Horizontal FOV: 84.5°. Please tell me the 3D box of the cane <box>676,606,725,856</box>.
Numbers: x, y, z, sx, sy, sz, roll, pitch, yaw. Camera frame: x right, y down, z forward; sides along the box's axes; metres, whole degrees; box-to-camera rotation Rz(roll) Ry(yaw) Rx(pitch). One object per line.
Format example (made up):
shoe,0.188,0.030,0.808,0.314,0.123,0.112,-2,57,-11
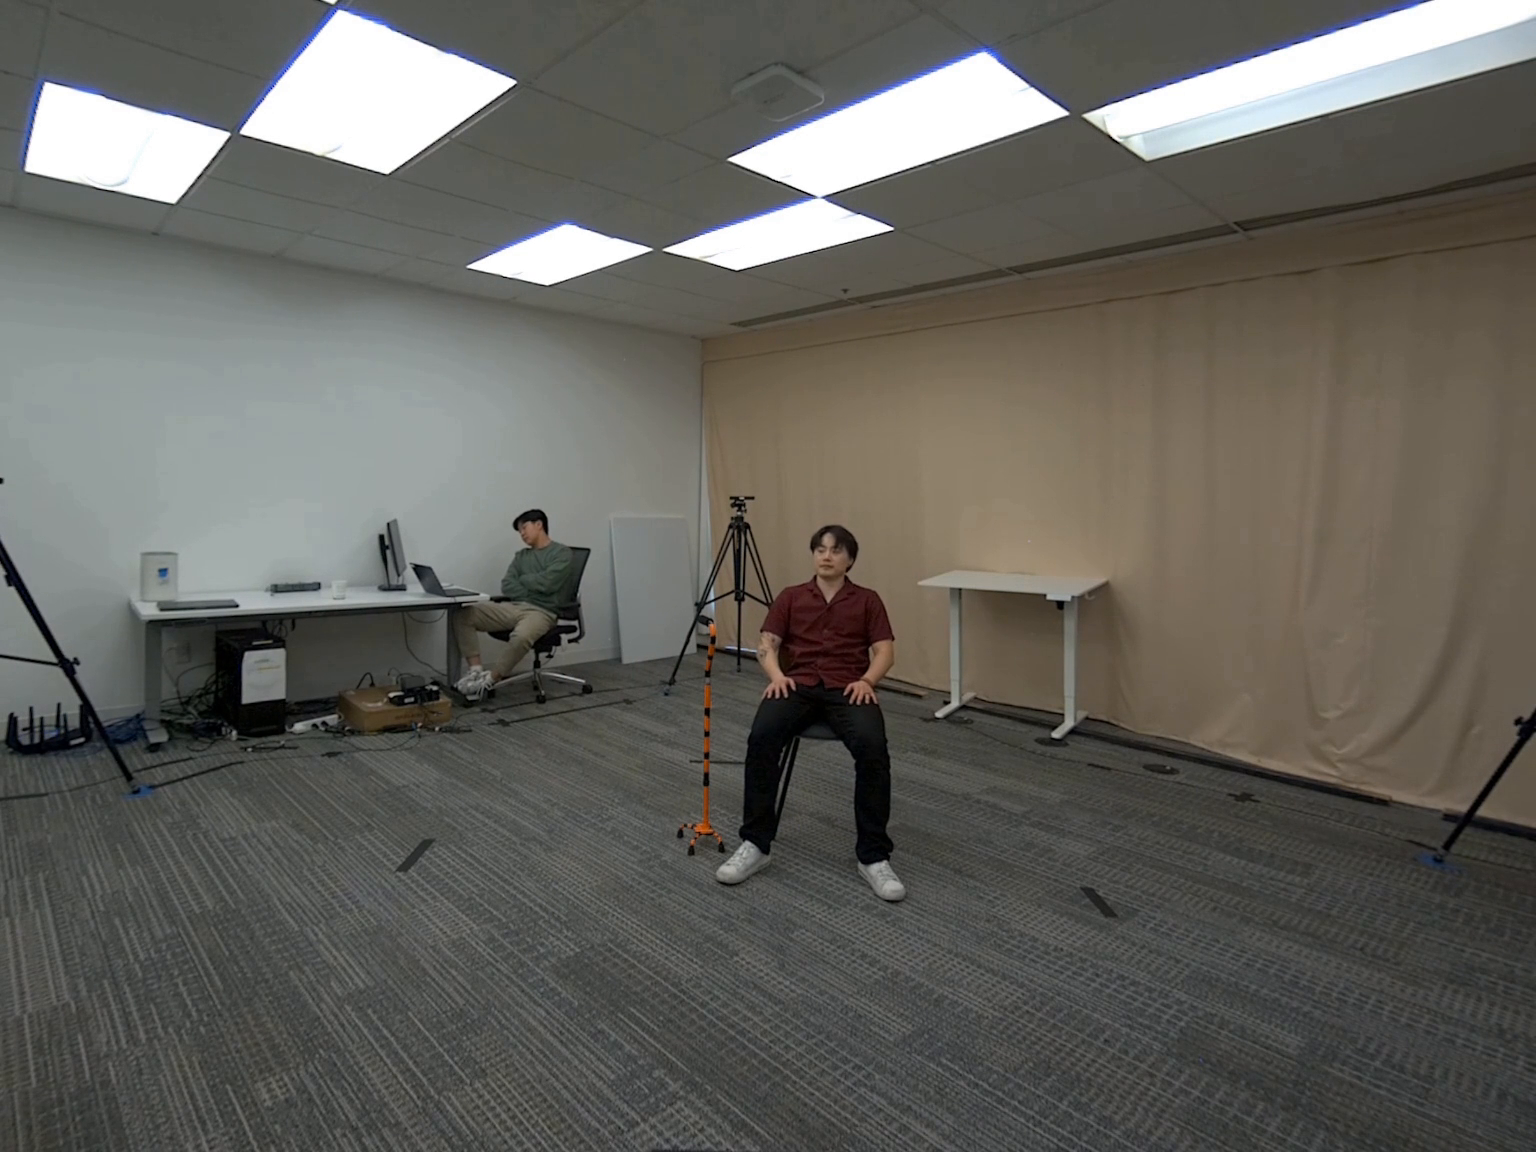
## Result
cane,-0.268,0.618,3.361,0.149,0.906,0.210,1,3,-23
